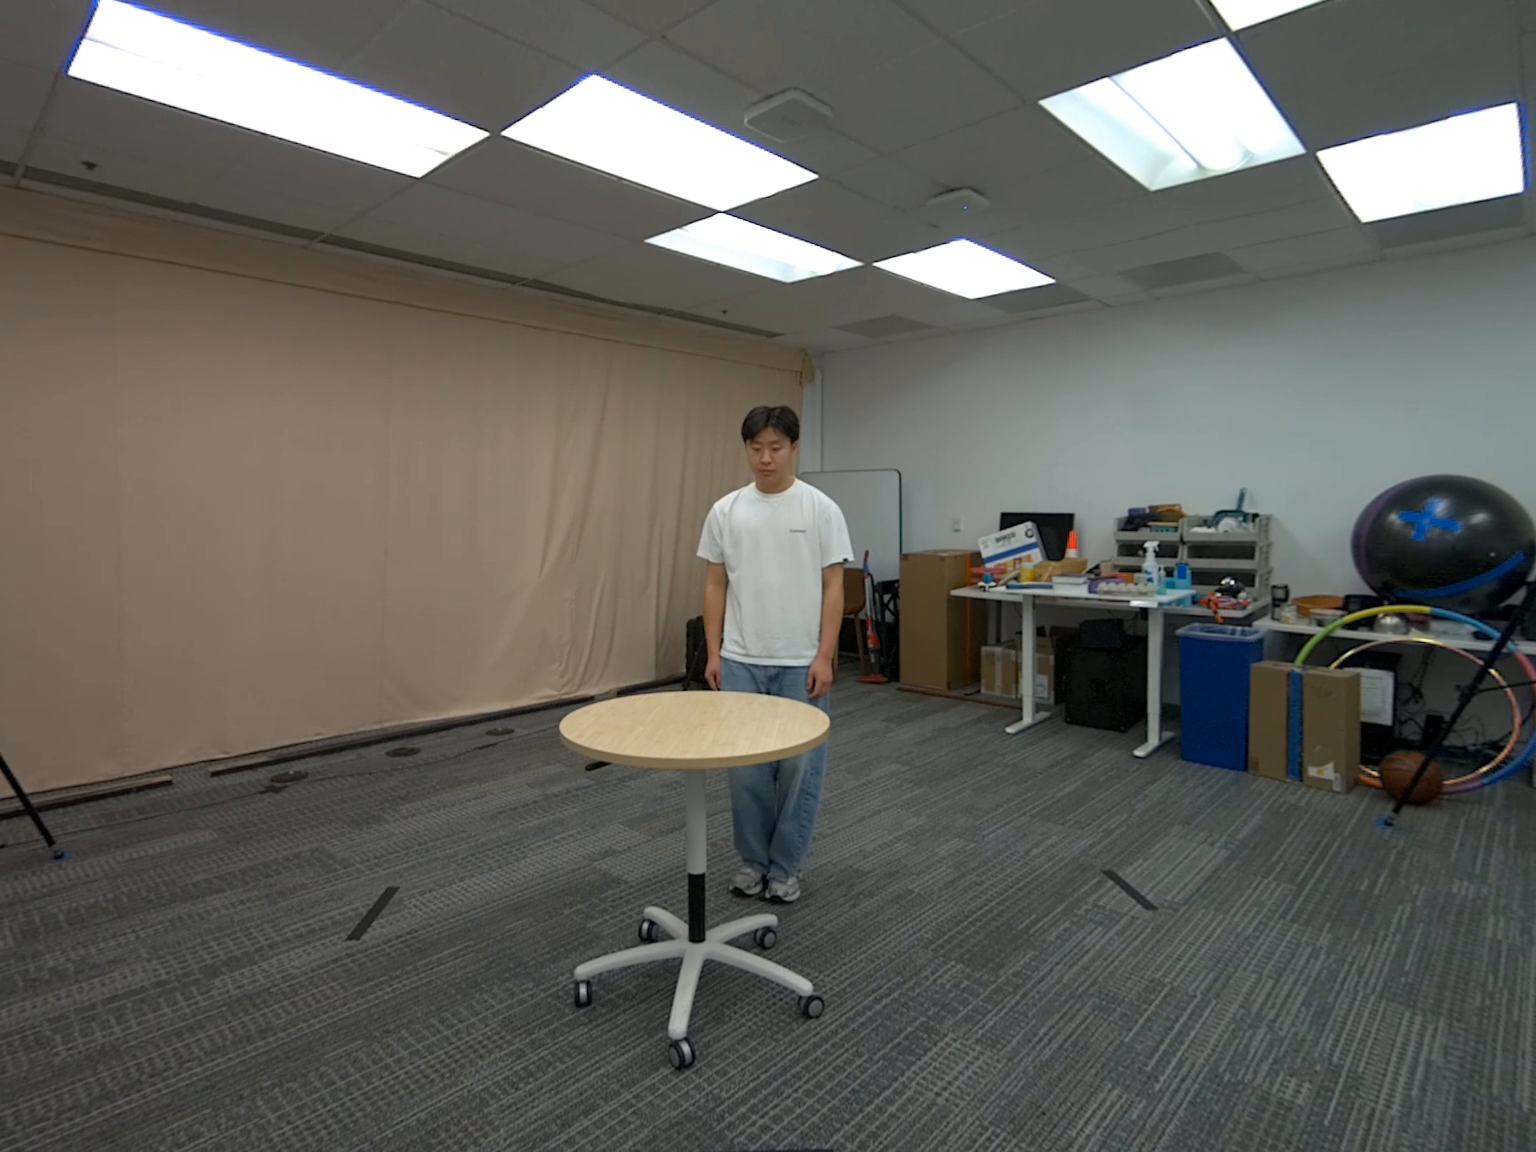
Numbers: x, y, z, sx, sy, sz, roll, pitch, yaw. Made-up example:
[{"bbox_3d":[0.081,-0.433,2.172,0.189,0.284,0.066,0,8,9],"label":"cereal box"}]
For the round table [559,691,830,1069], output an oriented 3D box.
[{"bbox_3d":[-0.206,0.805,2.421,0.763,0.792,0.766,-1,3,-2],"label":"round table"}]
